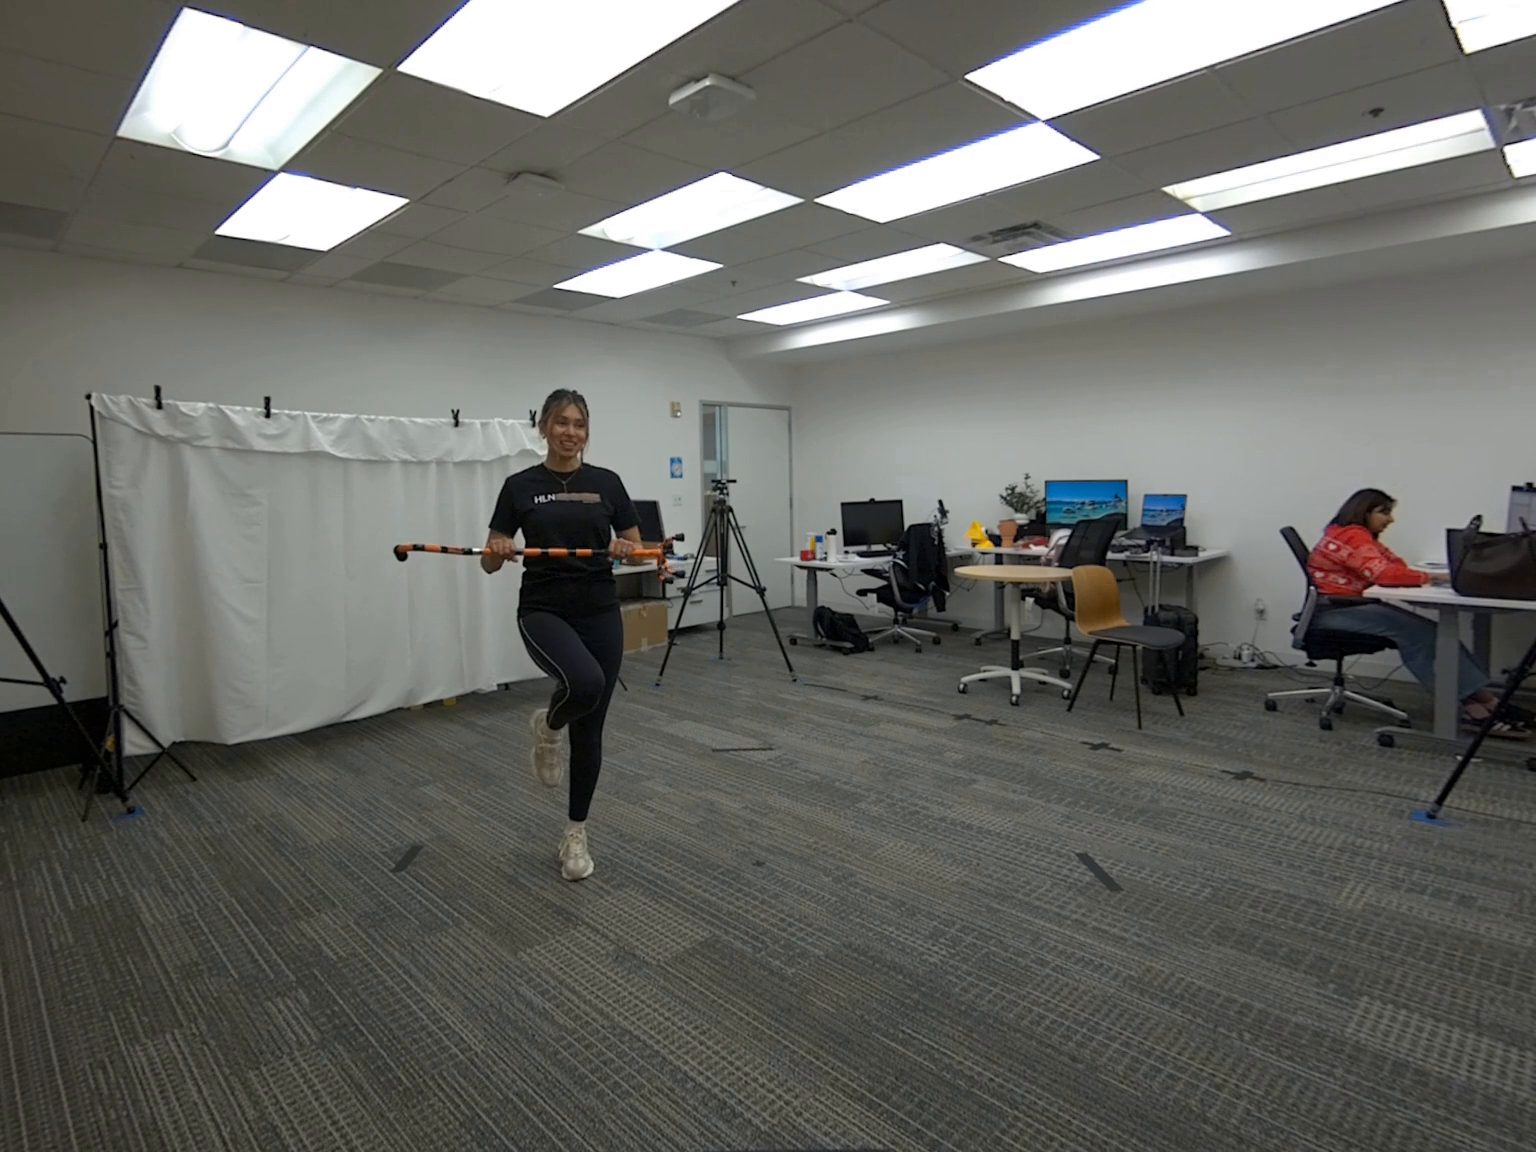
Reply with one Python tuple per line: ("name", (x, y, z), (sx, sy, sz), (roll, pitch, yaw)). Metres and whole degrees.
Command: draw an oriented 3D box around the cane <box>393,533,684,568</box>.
("cane", (-0.728, -0.063, 2.766), (0.896, 0.153, 0.207), (1, -8, -13))
